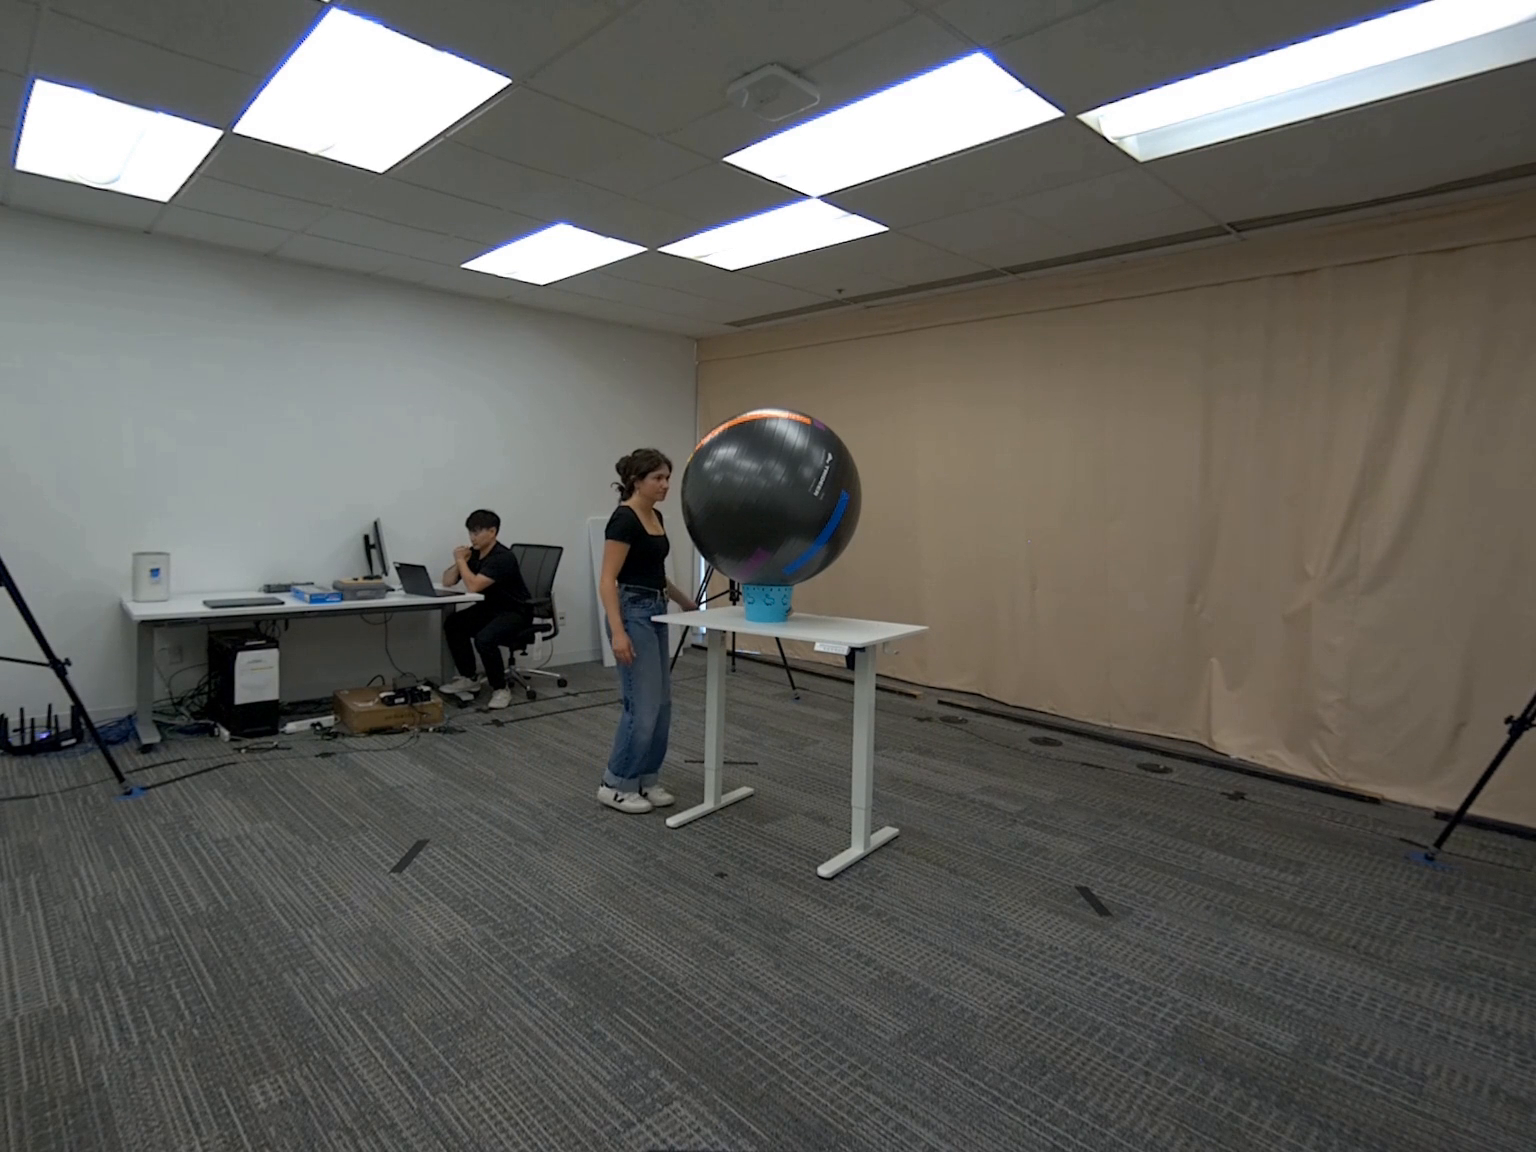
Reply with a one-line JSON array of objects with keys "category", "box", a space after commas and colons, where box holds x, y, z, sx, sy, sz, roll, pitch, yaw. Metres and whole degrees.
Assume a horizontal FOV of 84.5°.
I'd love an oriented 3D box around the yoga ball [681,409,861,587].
[{"category": "yoga ball", "box": [0.004, -0.325, 3.559, 0.757, 0.756, 0.761, 1, 4, -1]}]
